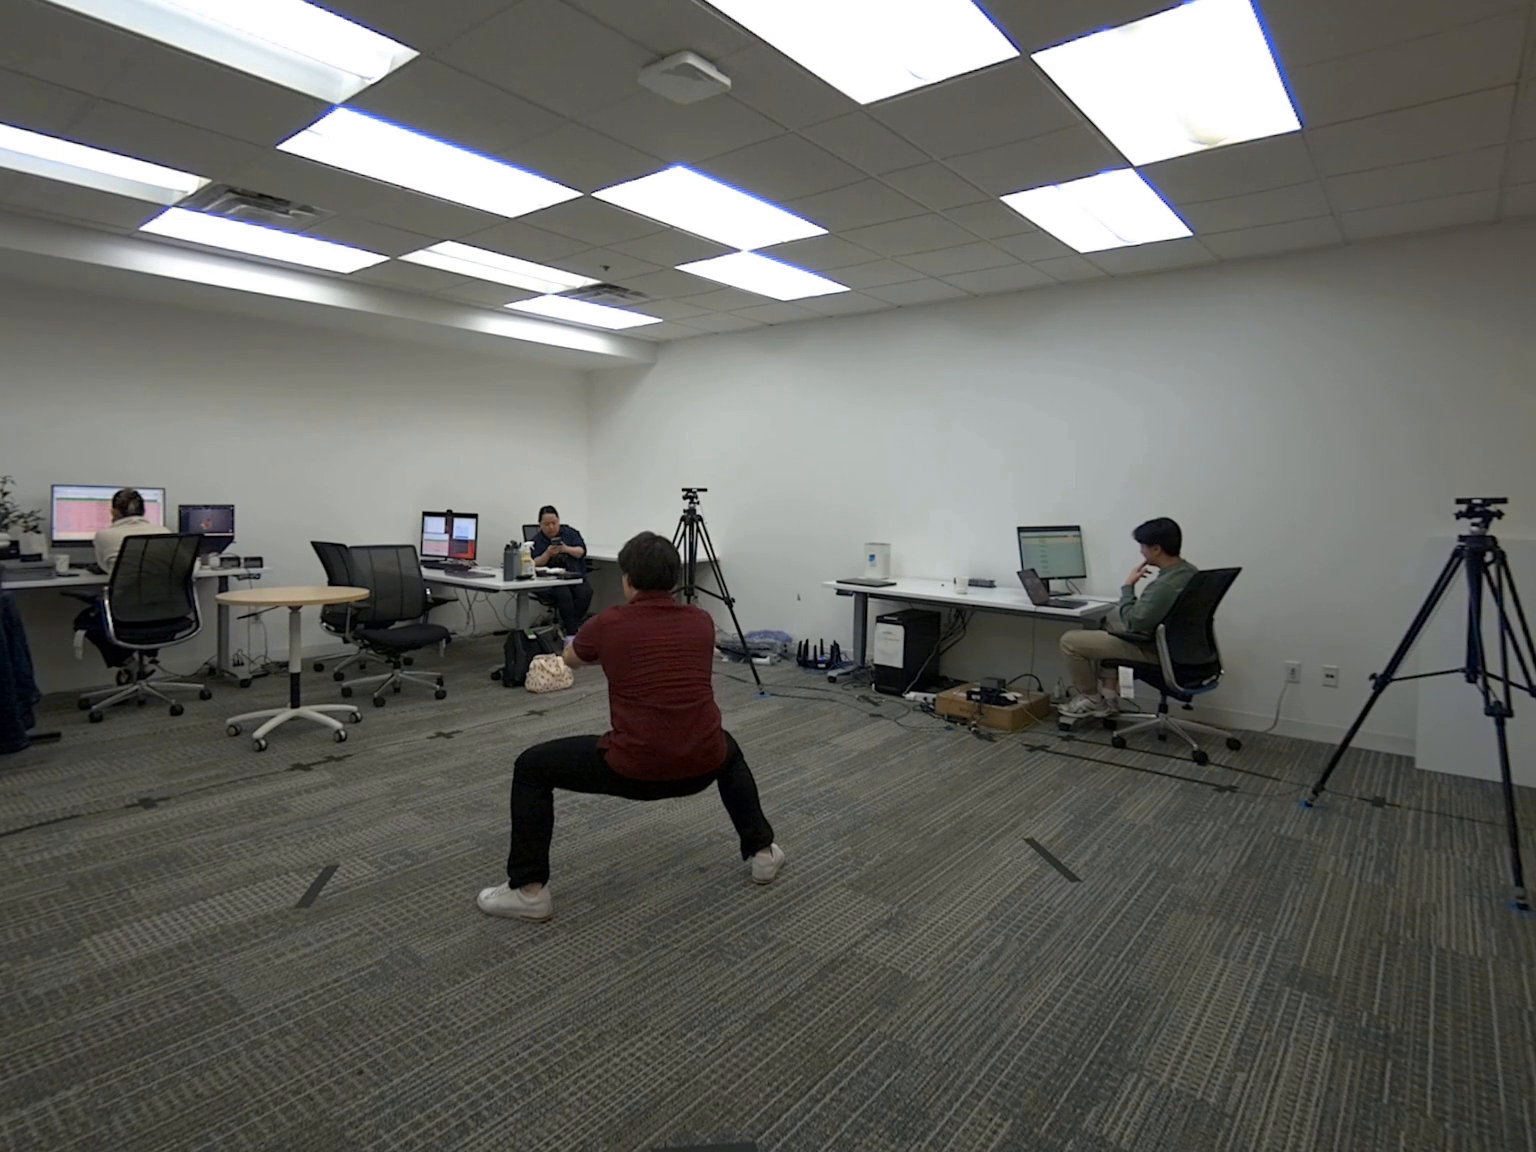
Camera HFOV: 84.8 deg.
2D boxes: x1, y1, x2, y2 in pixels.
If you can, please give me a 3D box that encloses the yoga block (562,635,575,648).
[{"bbox_3d":[-0.711,0.291,3.449,0.223,0.076,0.154,0,15,-30],"label":"yoga block"}]
